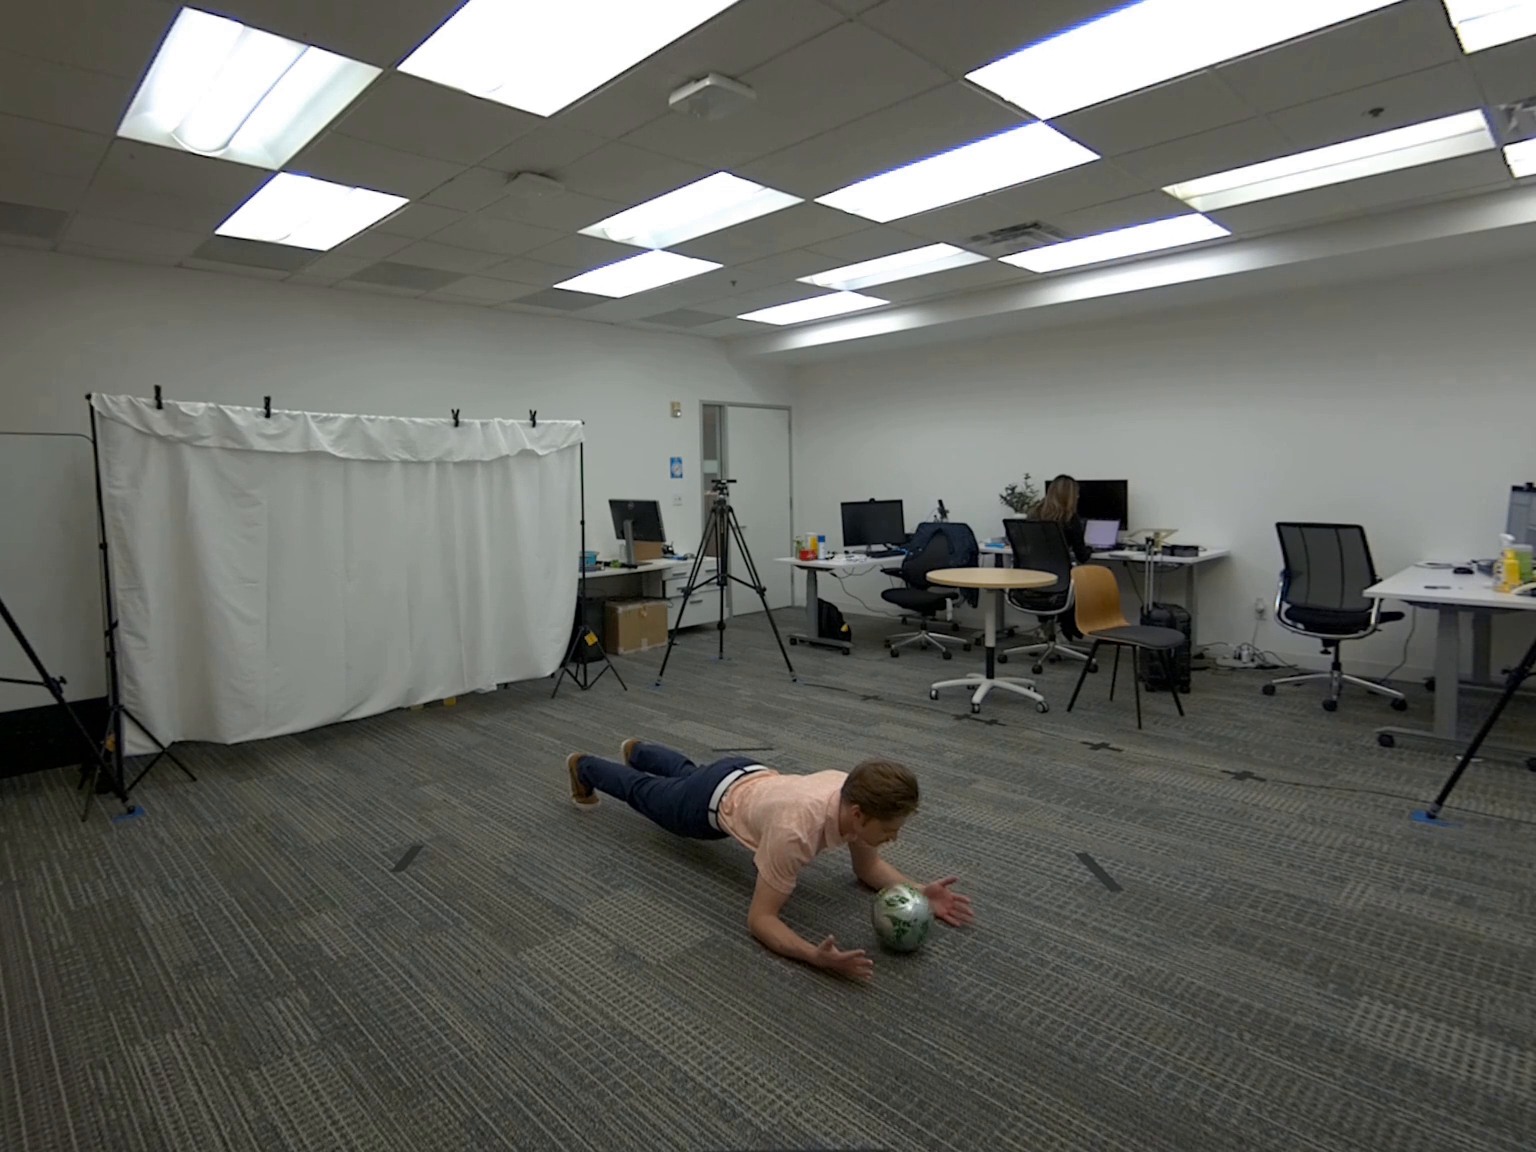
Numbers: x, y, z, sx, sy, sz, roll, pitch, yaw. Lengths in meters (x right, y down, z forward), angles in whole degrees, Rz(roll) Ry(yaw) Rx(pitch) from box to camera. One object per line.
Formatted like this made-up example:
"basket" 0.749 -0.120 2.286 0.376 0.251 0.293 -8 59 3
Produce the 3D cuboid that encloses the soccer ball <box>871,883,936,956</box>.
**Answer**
"soccer ball" 0.395 1.013 2.531 0.187 0.187 0.188 -1 5 -2
